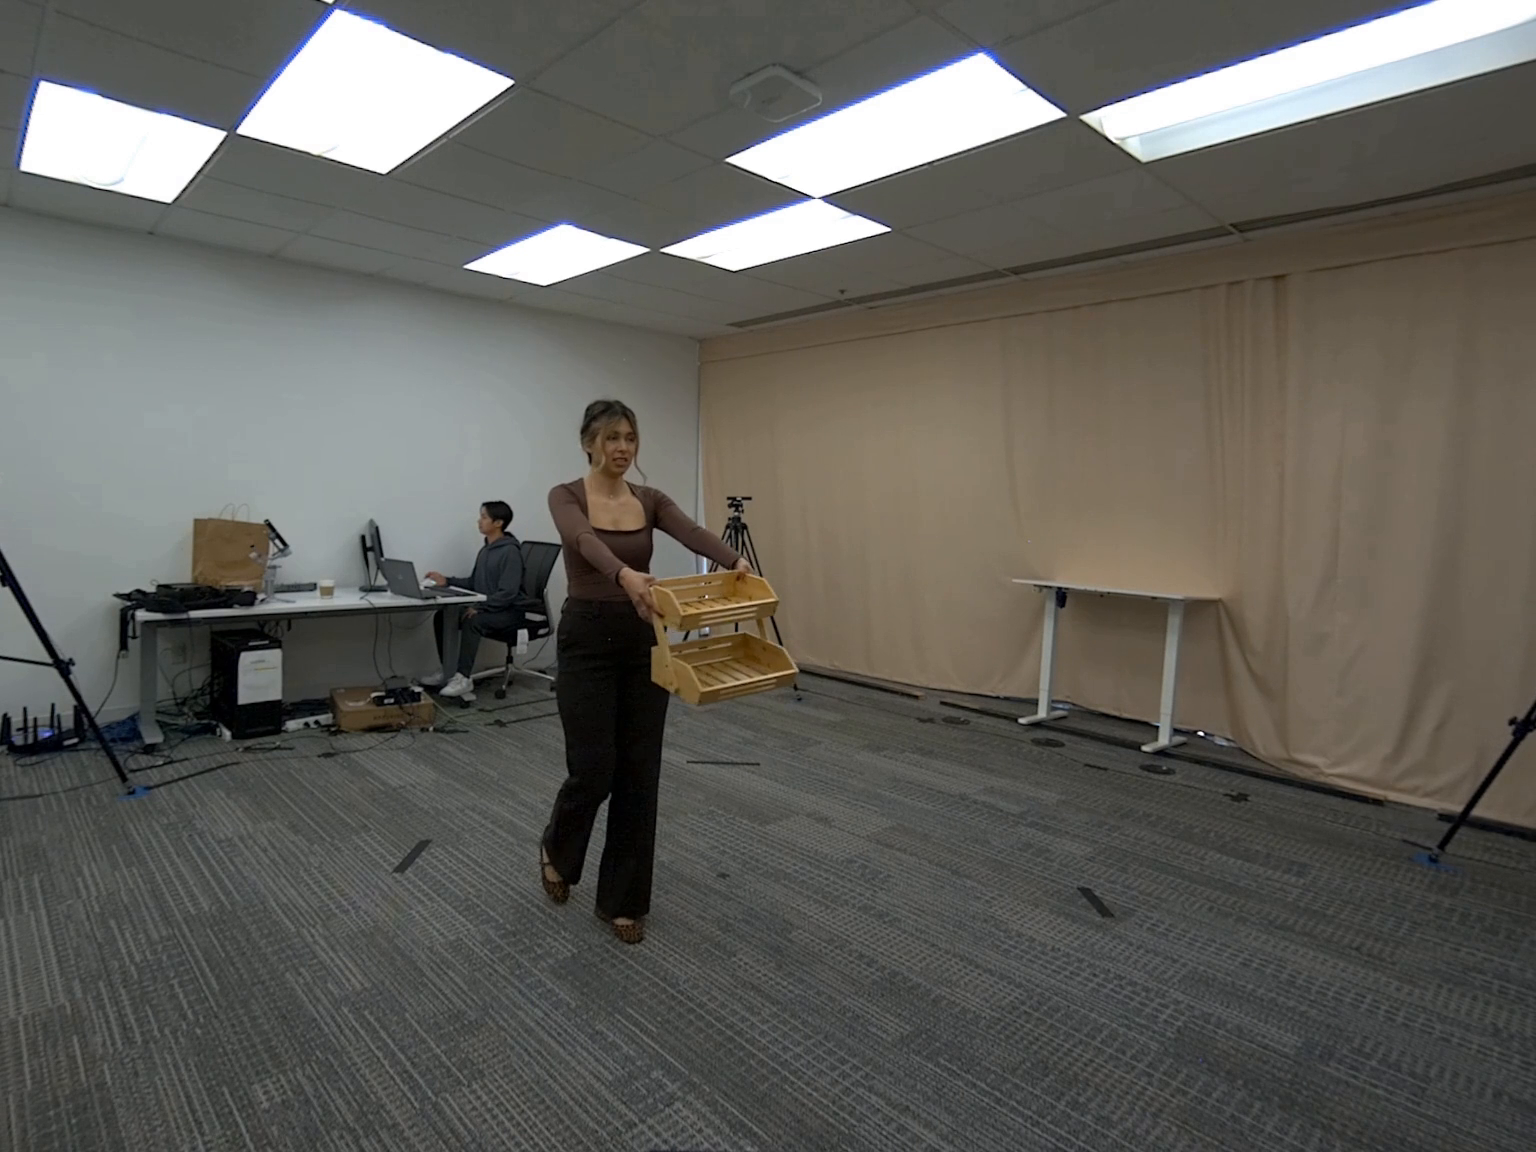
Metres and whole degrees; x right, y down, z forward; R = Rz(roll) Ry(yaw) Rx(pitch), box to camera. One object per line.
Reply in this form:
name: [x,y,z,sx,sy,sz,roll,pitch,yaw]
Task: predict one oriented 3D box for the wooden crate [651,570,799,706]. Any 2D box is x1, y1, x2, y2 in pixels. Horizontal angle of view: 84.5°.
wooden crate: [-0.134,0.154,2.206,0.318,0.271,0.310,-6,13,-33]
